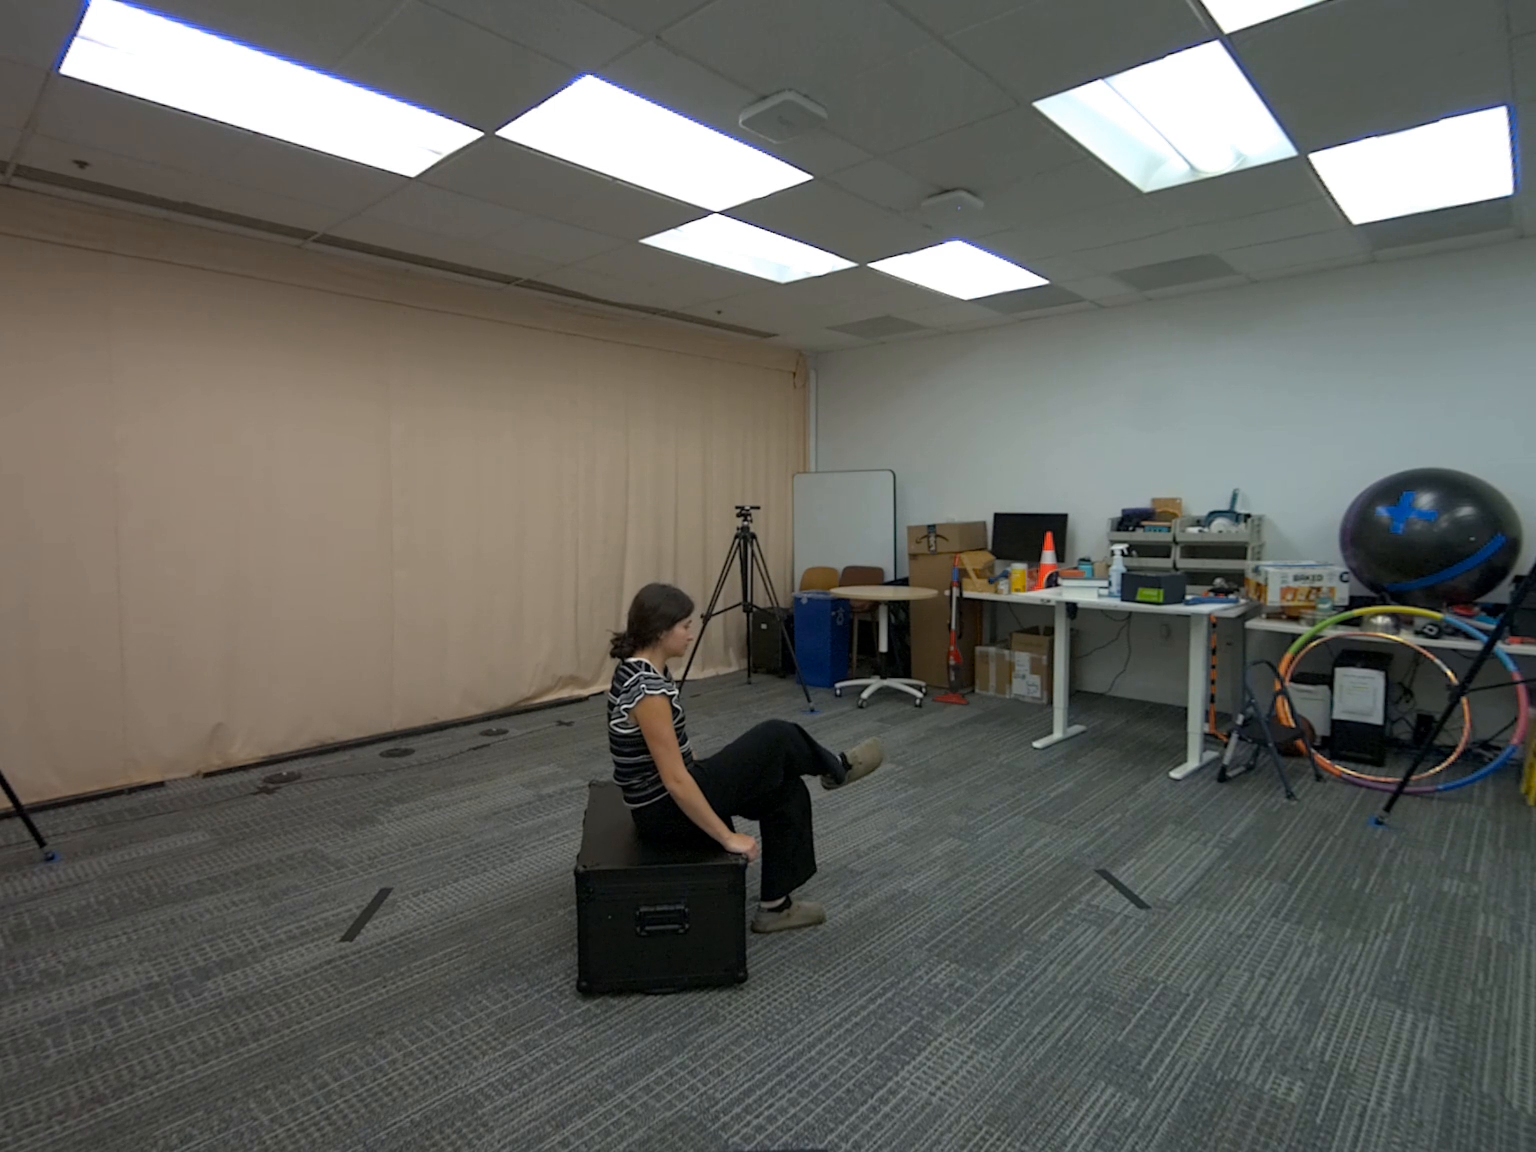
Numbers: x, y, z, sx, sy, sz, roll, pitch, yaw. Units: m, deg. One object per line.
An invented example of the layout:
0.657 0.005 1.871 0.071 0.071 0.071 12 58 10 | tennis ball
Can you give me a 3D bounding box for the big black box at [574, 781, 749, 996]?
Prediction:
-0.360 0.970 2.803 0.517 0.395 0.871 -1 5 -9 | big black box
